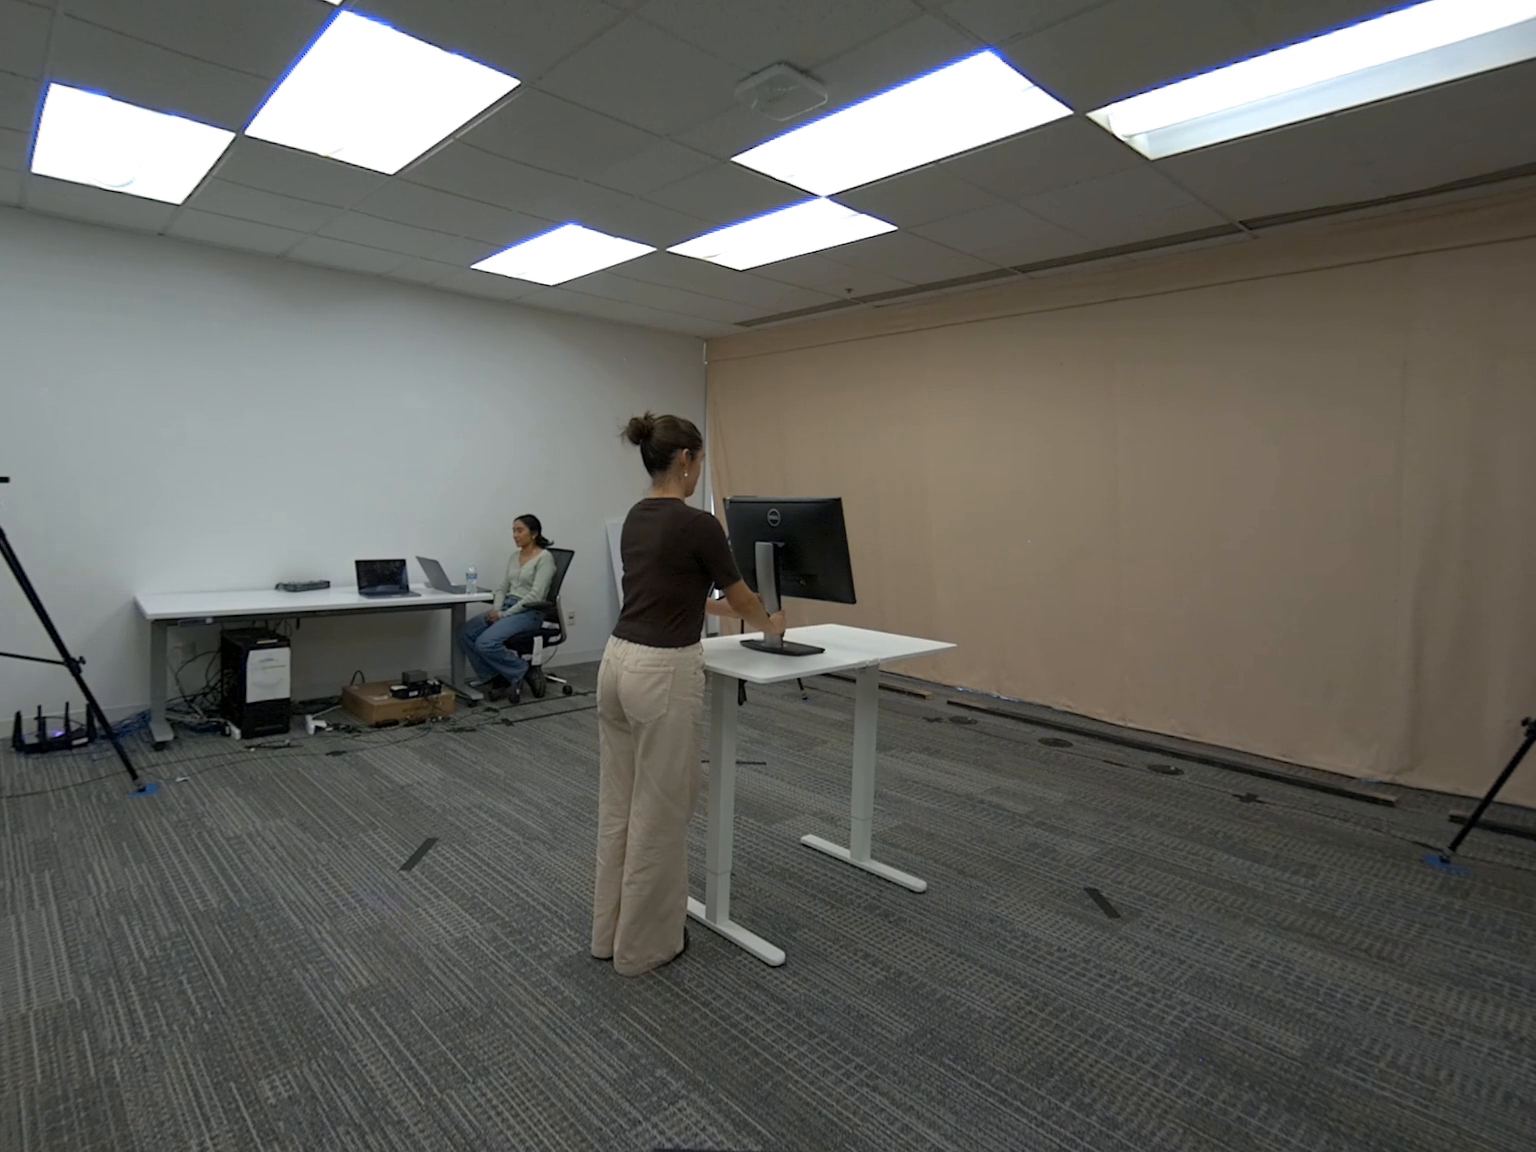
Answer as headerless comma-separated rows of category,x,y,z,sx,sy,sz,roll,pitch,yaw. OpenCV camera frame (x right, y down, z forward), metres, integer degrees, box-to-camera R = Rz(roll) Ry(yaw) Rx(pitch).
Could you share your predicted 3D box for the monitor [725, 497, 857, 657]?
monitor,0.040,-0.008,2.834,0.543,0.516,0.170,3,1,45
